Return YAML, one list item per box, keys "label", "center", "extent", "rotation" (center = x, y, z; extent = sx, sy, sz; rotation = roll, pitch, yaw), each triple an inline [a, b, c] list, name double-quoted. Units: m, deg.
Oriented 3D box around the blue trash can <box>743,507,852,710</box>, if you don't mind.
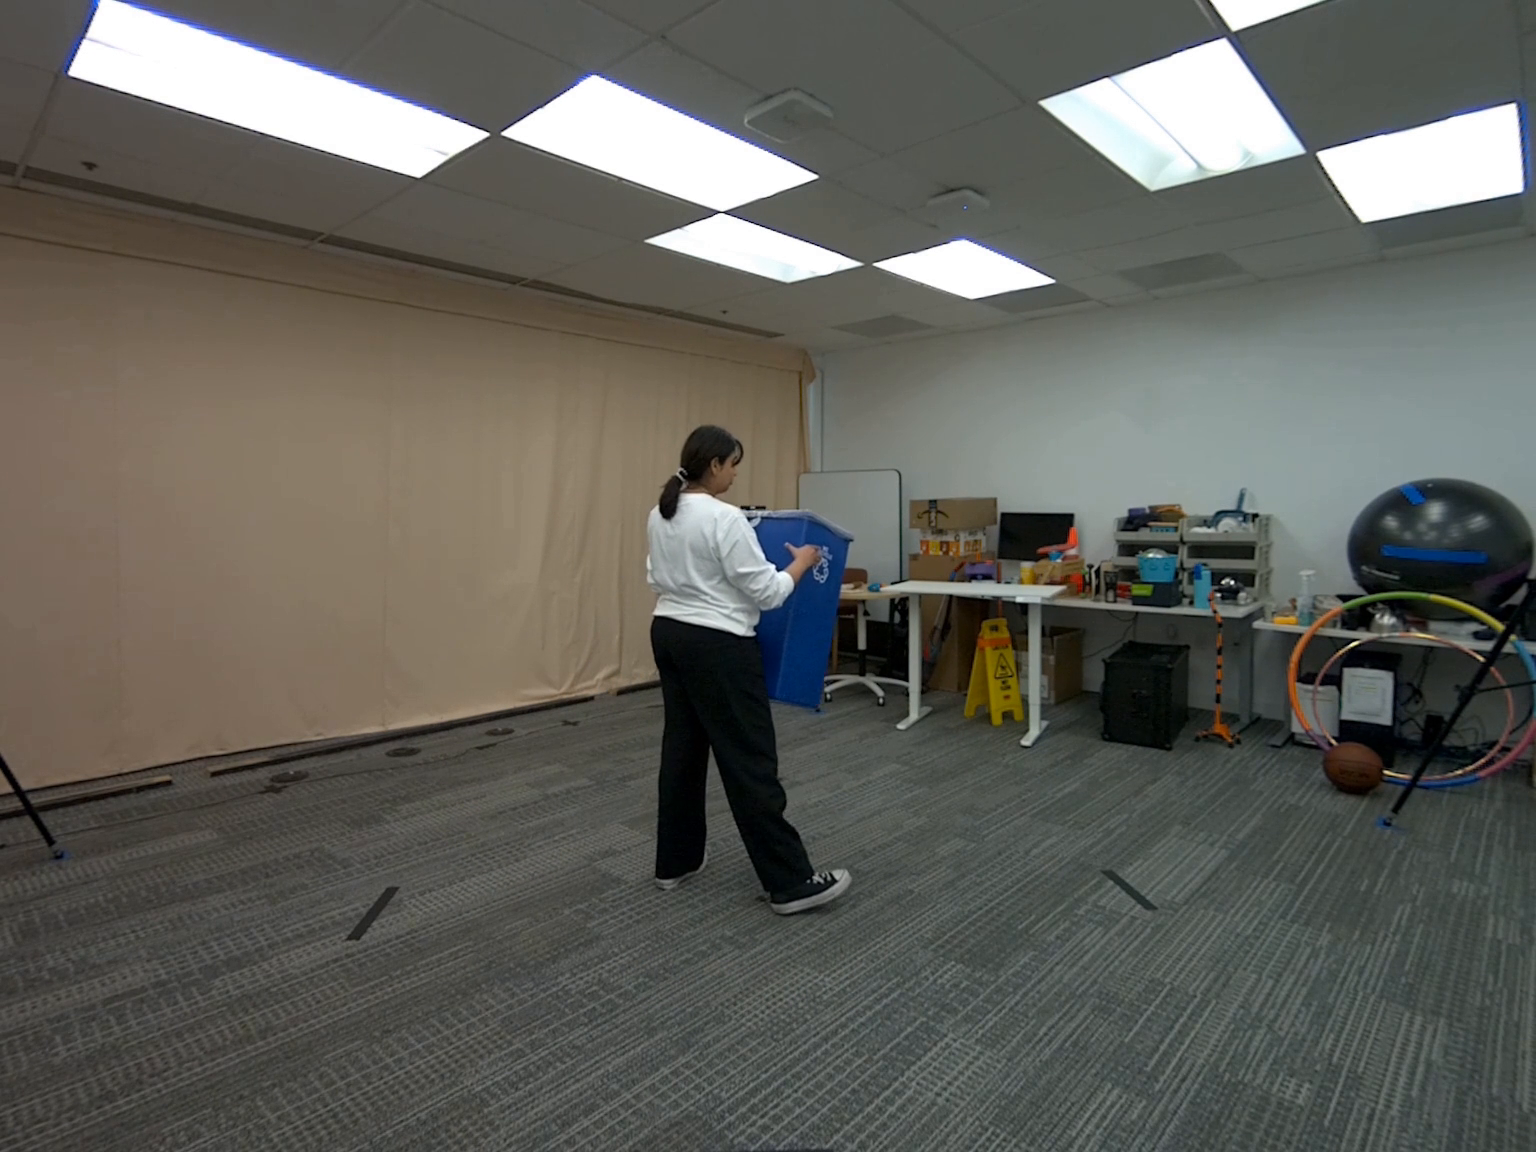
- label: "blue trash can"
  center: [0.065, 0.134, 3.339]
  extent: [0.390, 0.717, 0.361]
  rotation: [2, -13, 36]
